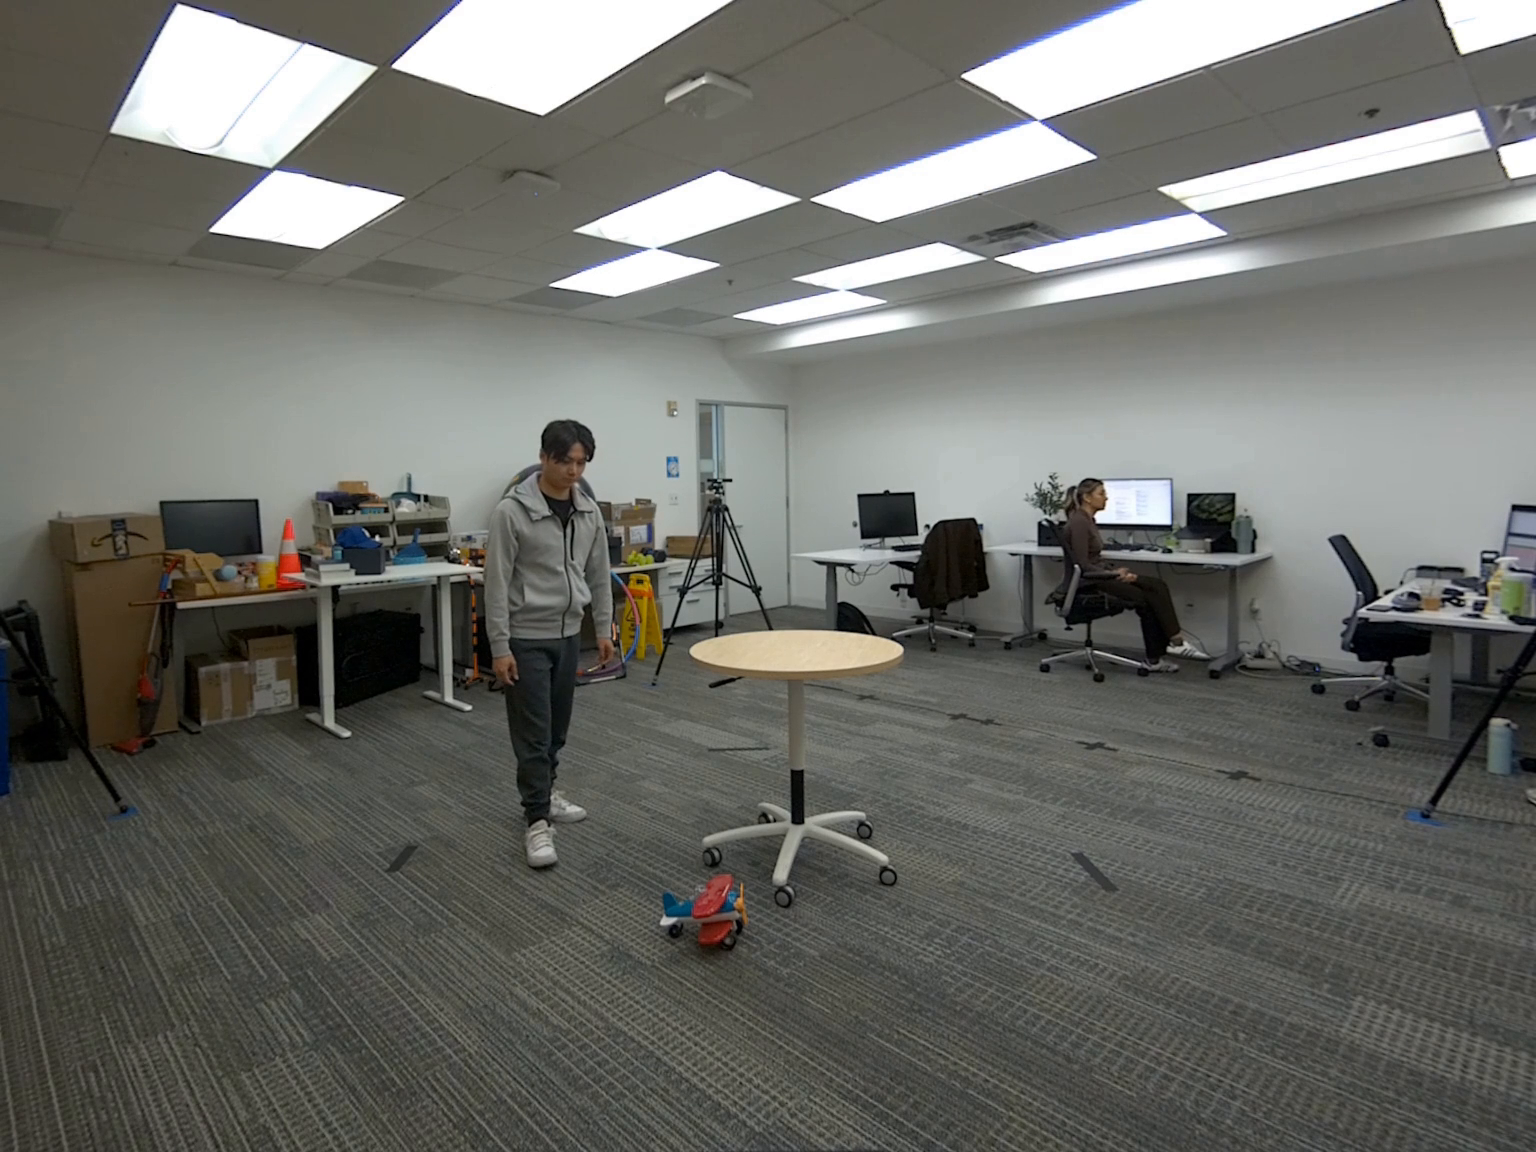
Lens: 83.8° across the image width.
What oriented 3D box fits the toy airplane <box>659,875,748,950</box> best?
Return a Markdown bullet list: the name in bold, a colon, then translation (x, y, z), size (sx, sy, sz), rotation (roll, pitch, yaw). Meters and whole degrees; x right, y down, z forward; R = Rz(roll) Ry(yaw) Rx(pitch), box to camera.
- **toy airplane**: translation (-0.191, 1.033, 2.593), size (0.256, 0.156, 0.256), rotation (-2, 6, -15)
